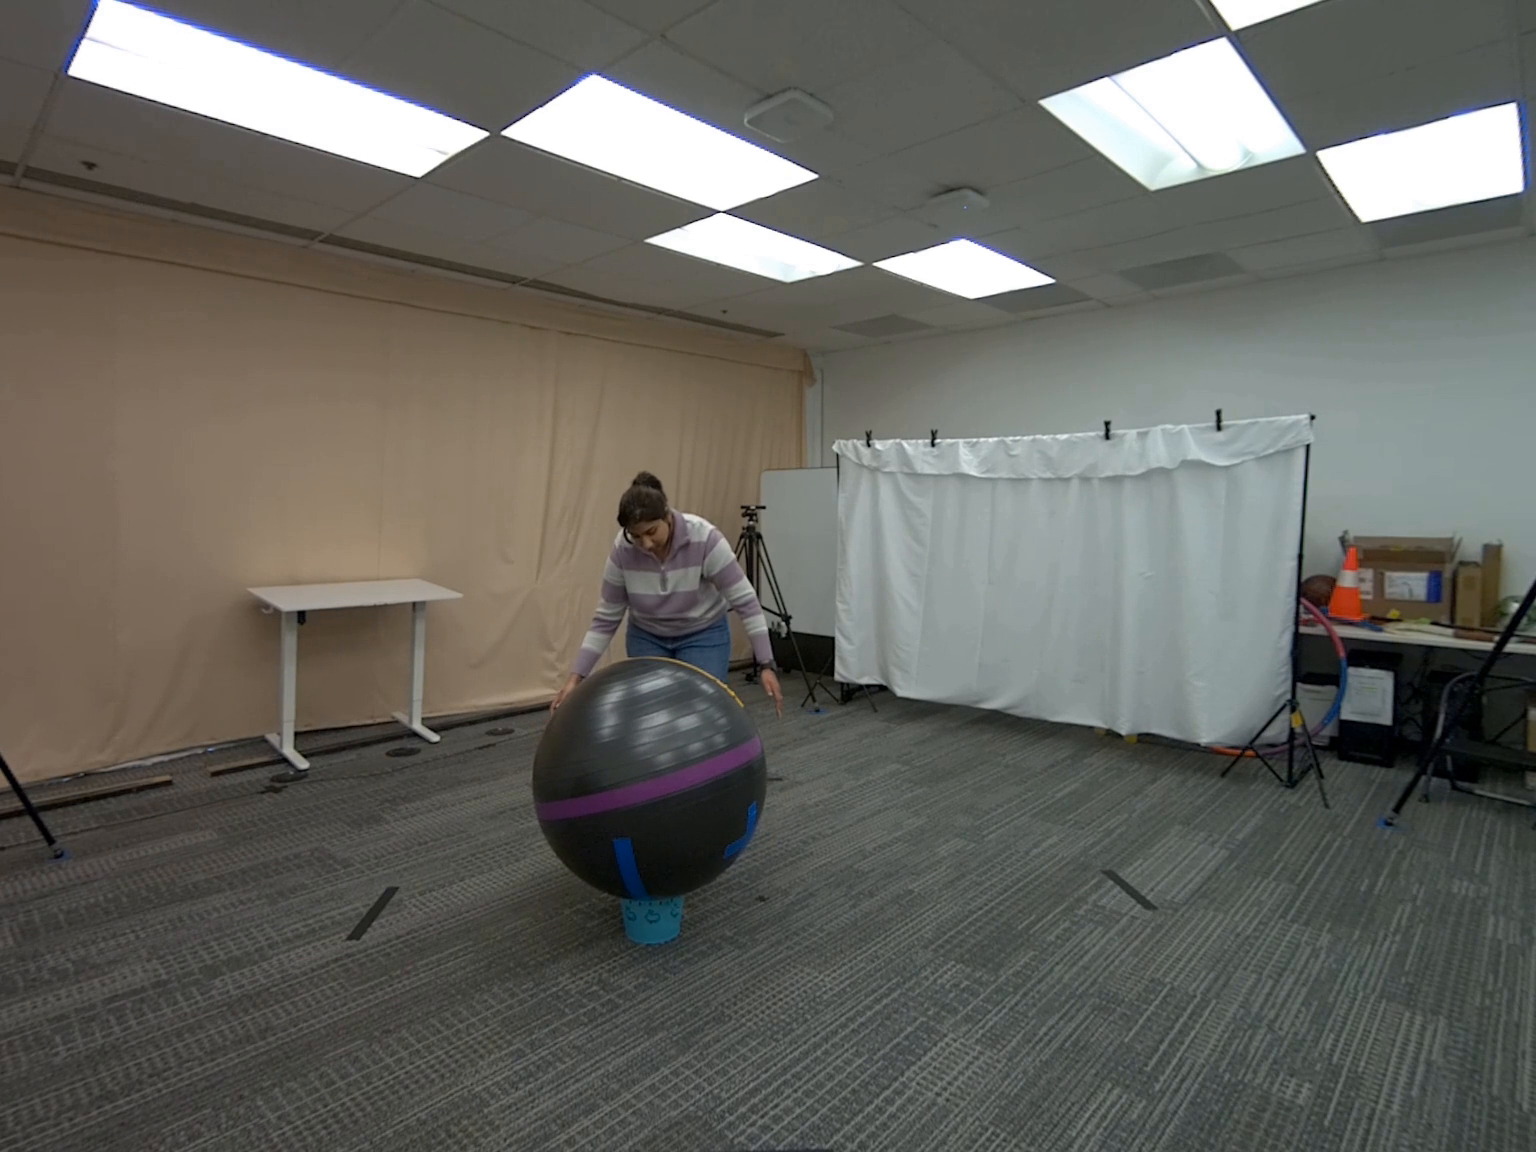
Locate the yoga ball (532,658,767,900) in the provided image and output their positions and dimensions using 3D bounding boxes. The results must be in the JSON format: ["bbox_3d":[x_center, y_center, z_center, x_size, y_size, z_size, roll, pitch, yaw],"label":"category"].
[{"bbox_3d":[-0.387,0.655,2.745,0.757,0.756,0.760,0,4,-2],"label":"yoga ball"}]
